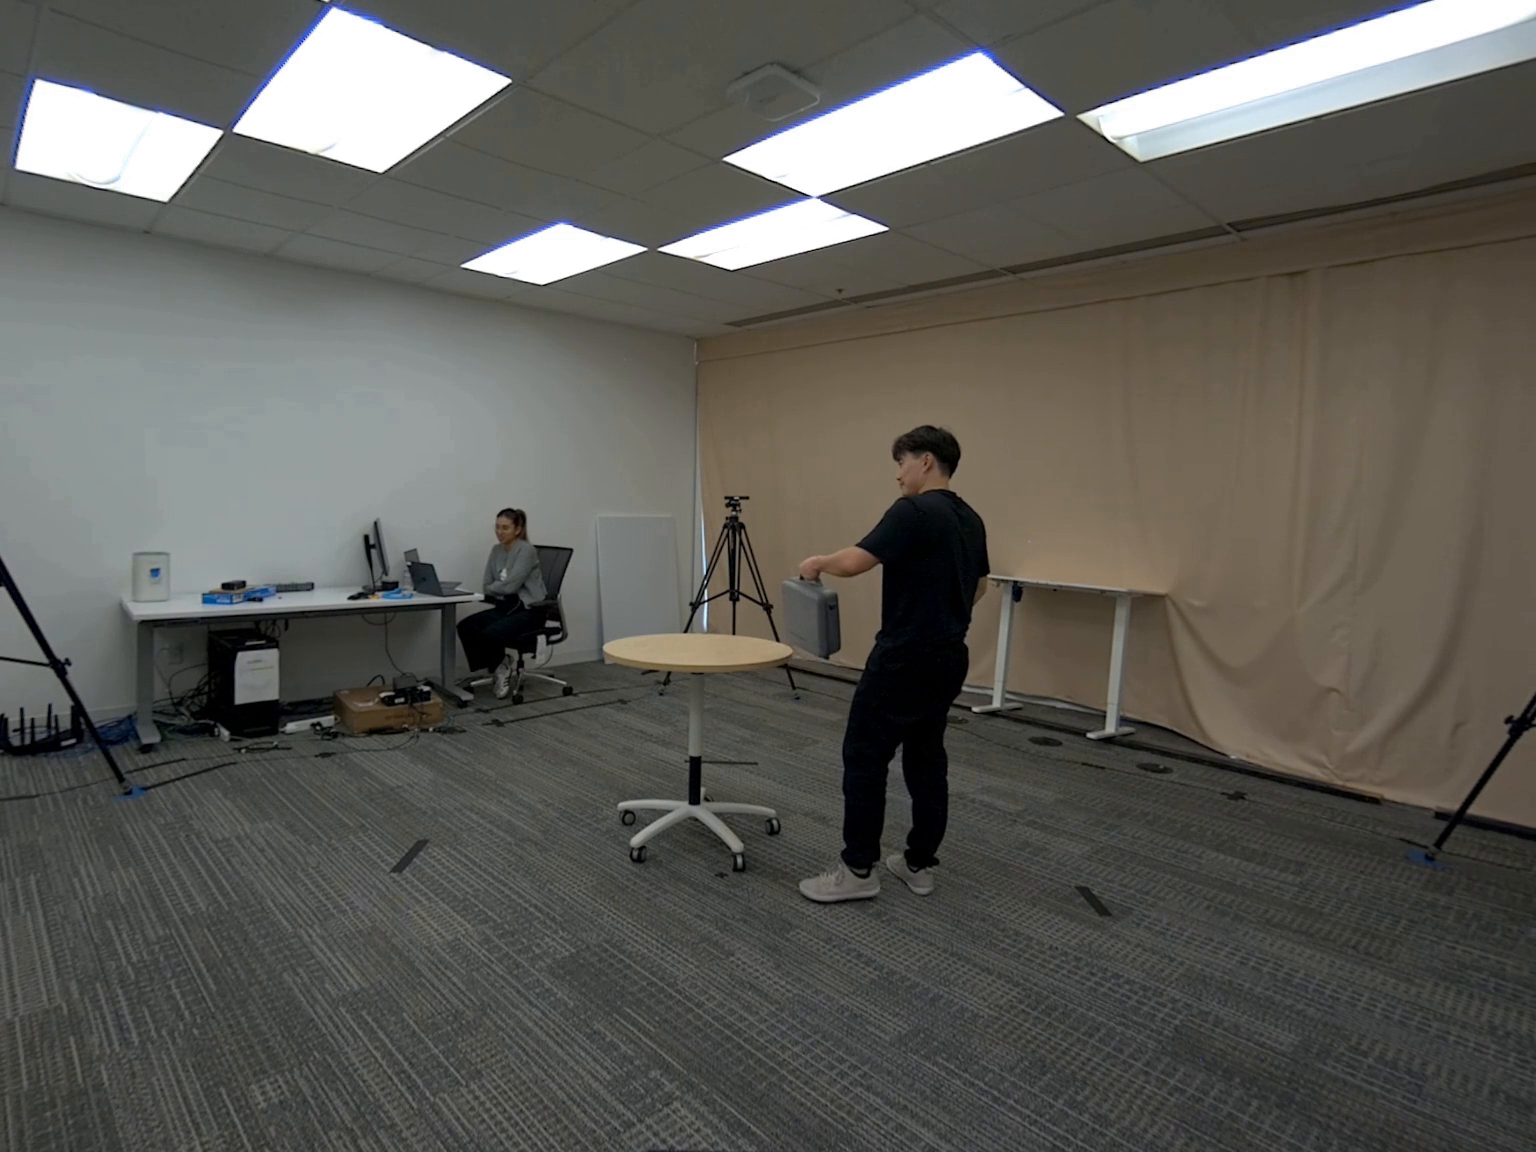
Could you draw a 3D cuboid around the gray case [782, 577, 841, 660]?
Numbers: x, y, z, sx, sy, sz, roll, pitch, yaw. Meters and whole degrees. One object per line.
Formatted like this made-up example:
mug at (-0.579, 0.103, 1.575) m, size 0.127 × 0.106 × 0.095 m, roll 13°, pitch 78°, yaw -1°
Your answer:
gray case at (0.150, 0.144, 3.152) m, size 0.103 × 0.257 × 0.264 m, roll -13°, pitch 20°, yaw -27°
